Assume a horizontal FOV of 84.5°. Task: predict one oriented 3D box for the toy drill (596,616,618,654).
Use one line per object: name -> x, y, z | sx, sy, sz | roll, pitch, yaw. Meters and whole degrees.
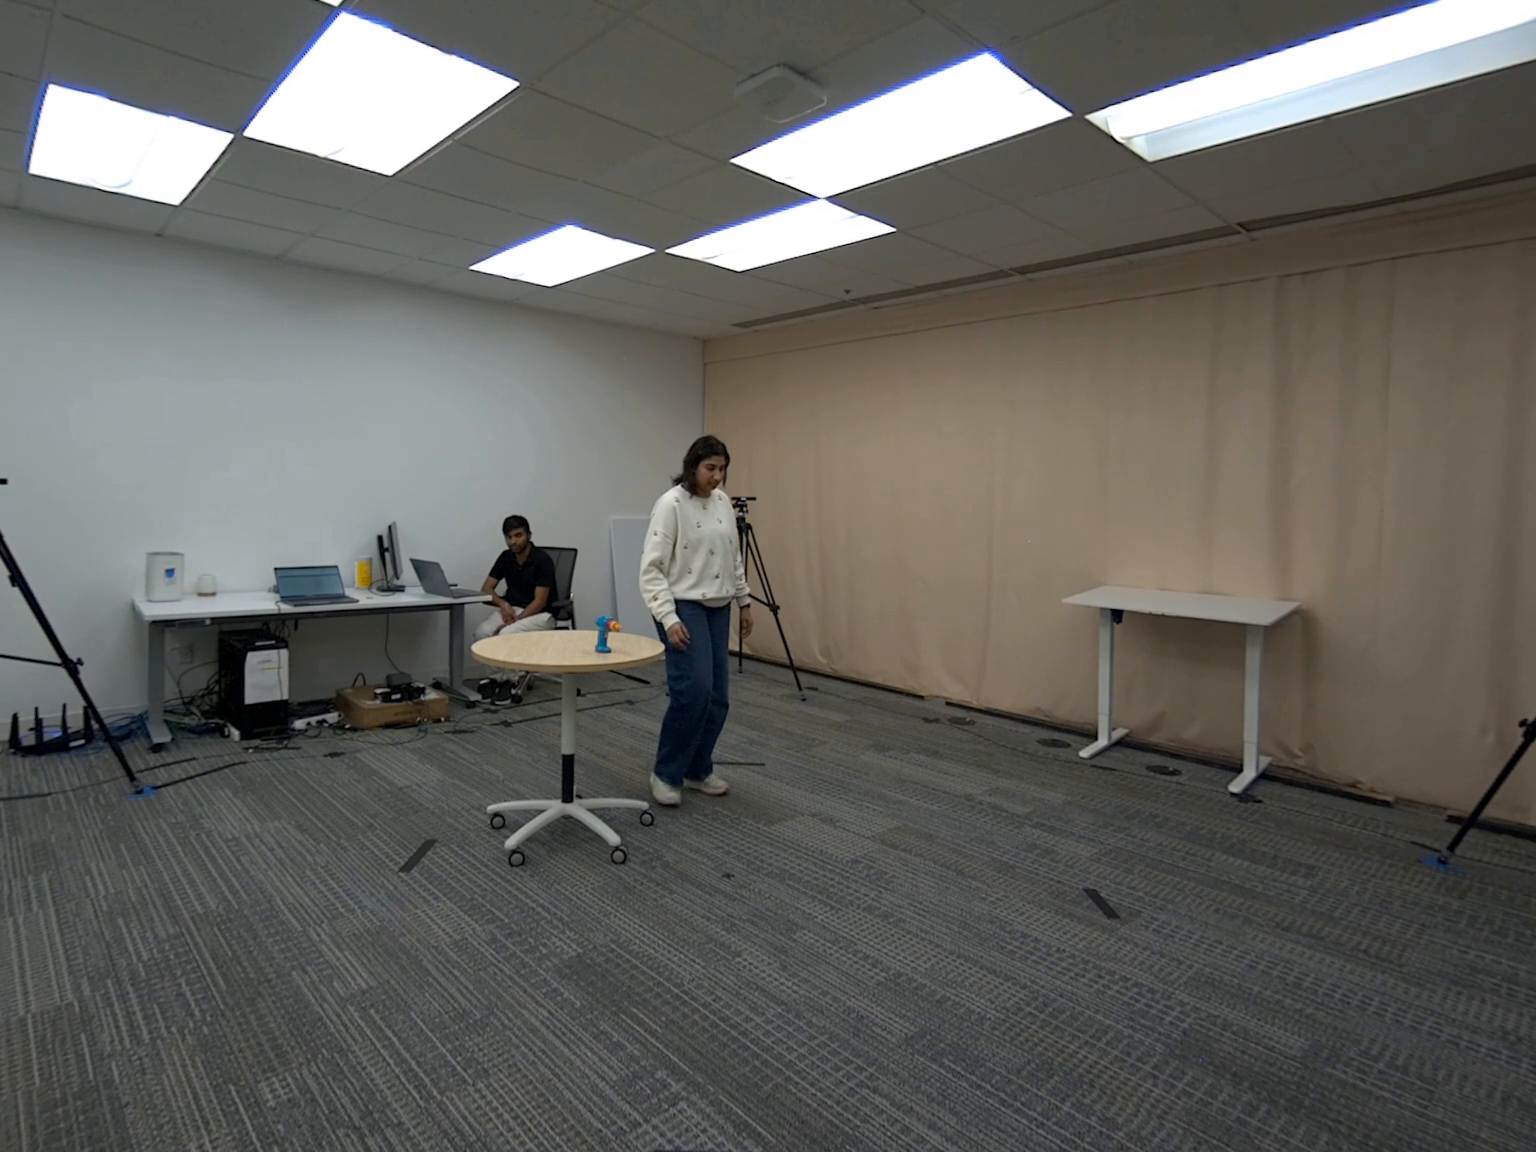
toy drill -> -0.628, 0.229, 3.262 | 0.060, 0.145, 0.174 | -2, 6, -42
